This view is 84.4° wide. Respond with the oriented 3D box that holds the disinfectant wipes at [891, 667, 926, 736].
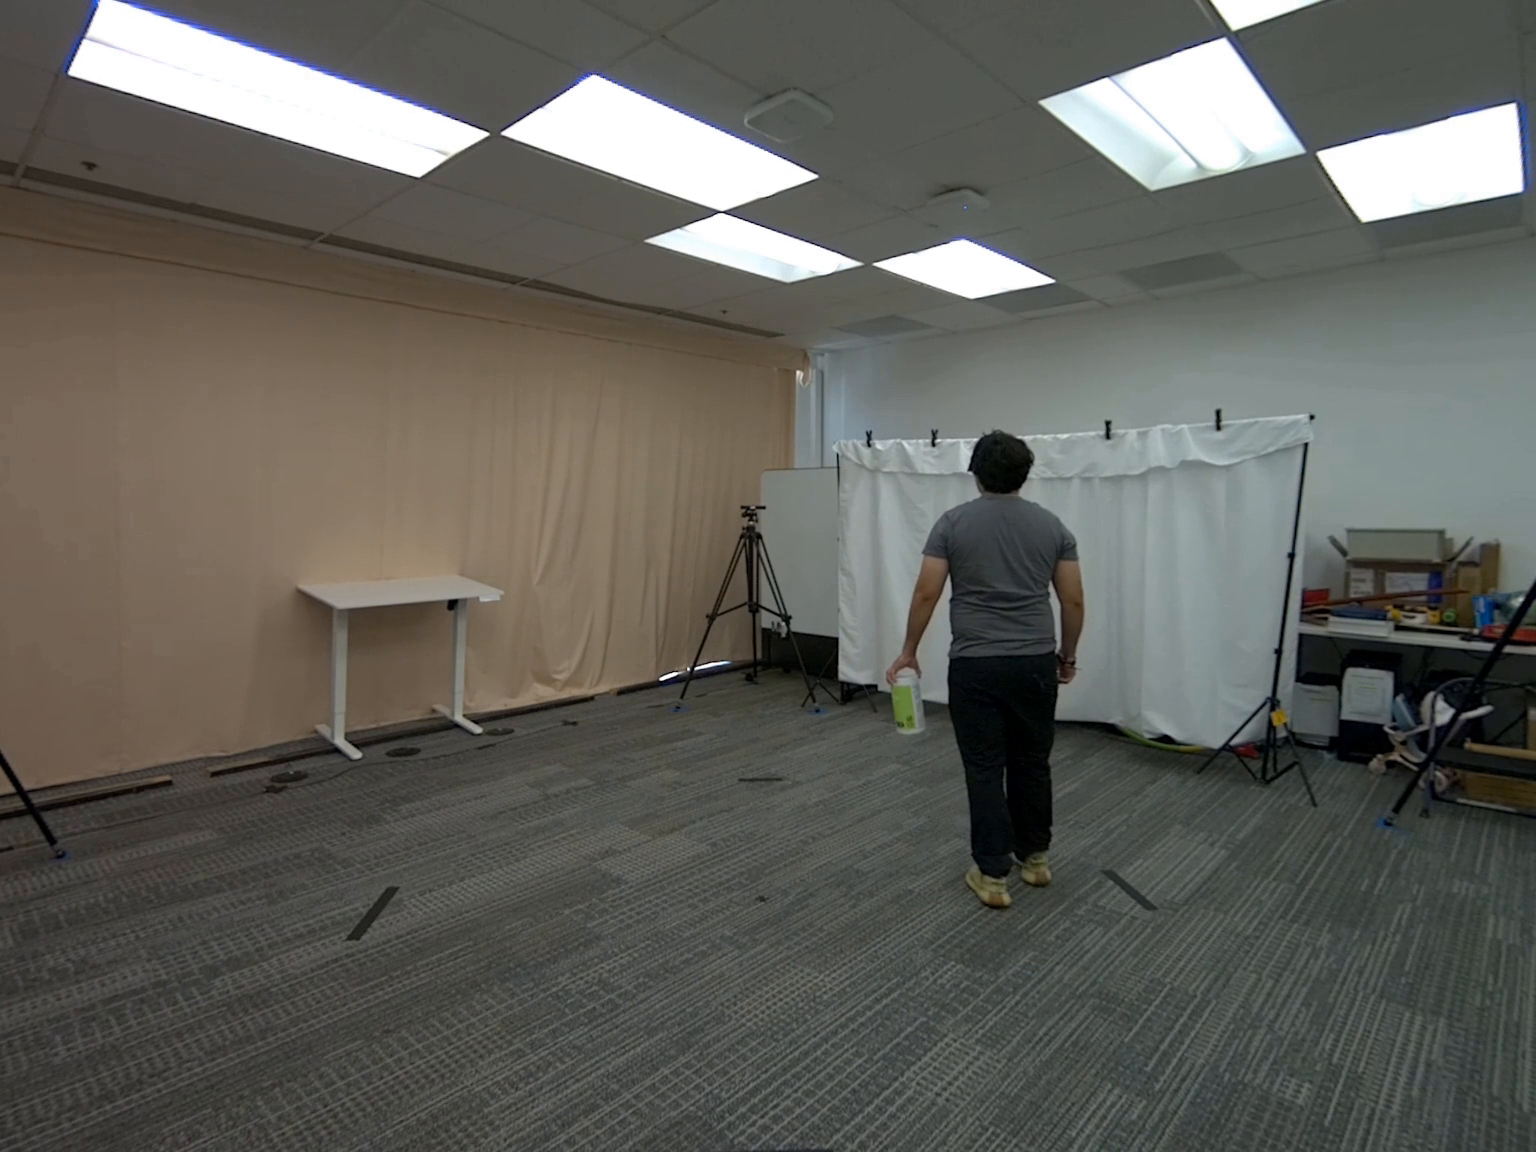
[{"bbox_3d":[0.538,0.490,3.185,0.118,0.217,0.118,-7,5,-1],"label":"disinfectant wipes"}]
